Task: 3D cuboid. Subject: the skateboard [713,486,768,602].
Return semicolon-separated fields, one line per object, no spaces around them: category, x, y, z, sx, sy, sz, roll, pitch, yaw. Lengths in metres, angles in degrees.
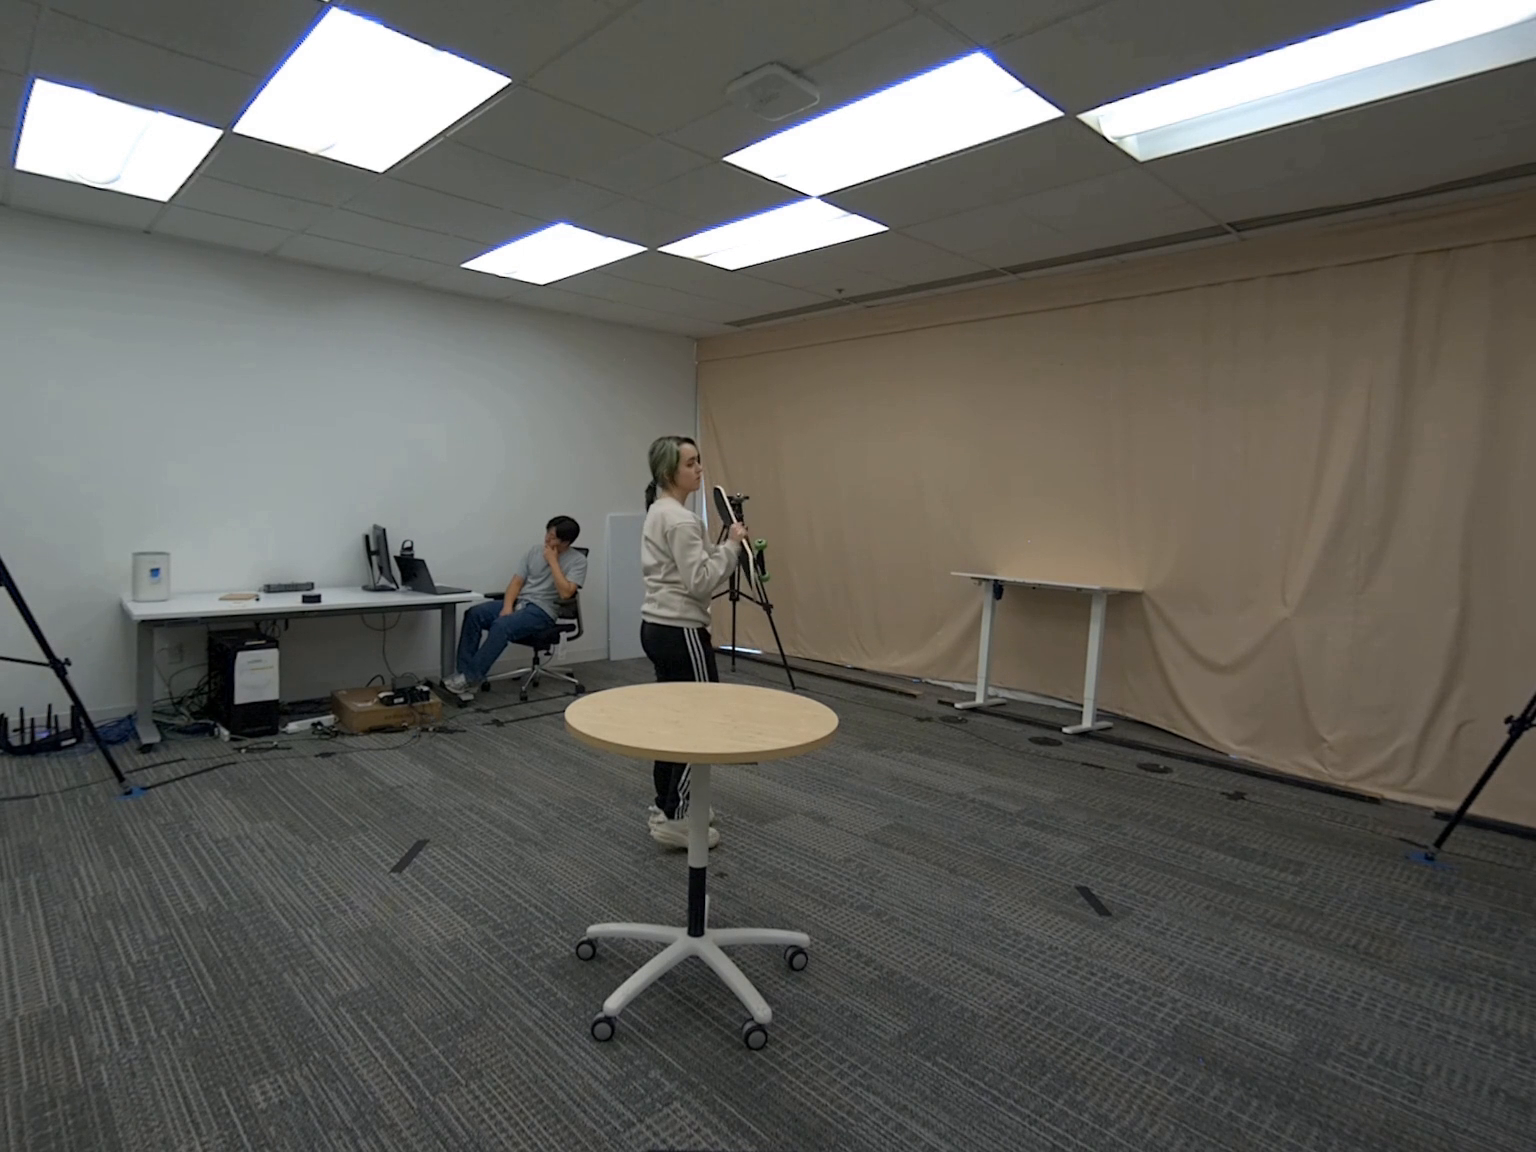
skateboard;-0.103;-0.160;3.521;0.110;0.189;0.808;-12;36;-10
